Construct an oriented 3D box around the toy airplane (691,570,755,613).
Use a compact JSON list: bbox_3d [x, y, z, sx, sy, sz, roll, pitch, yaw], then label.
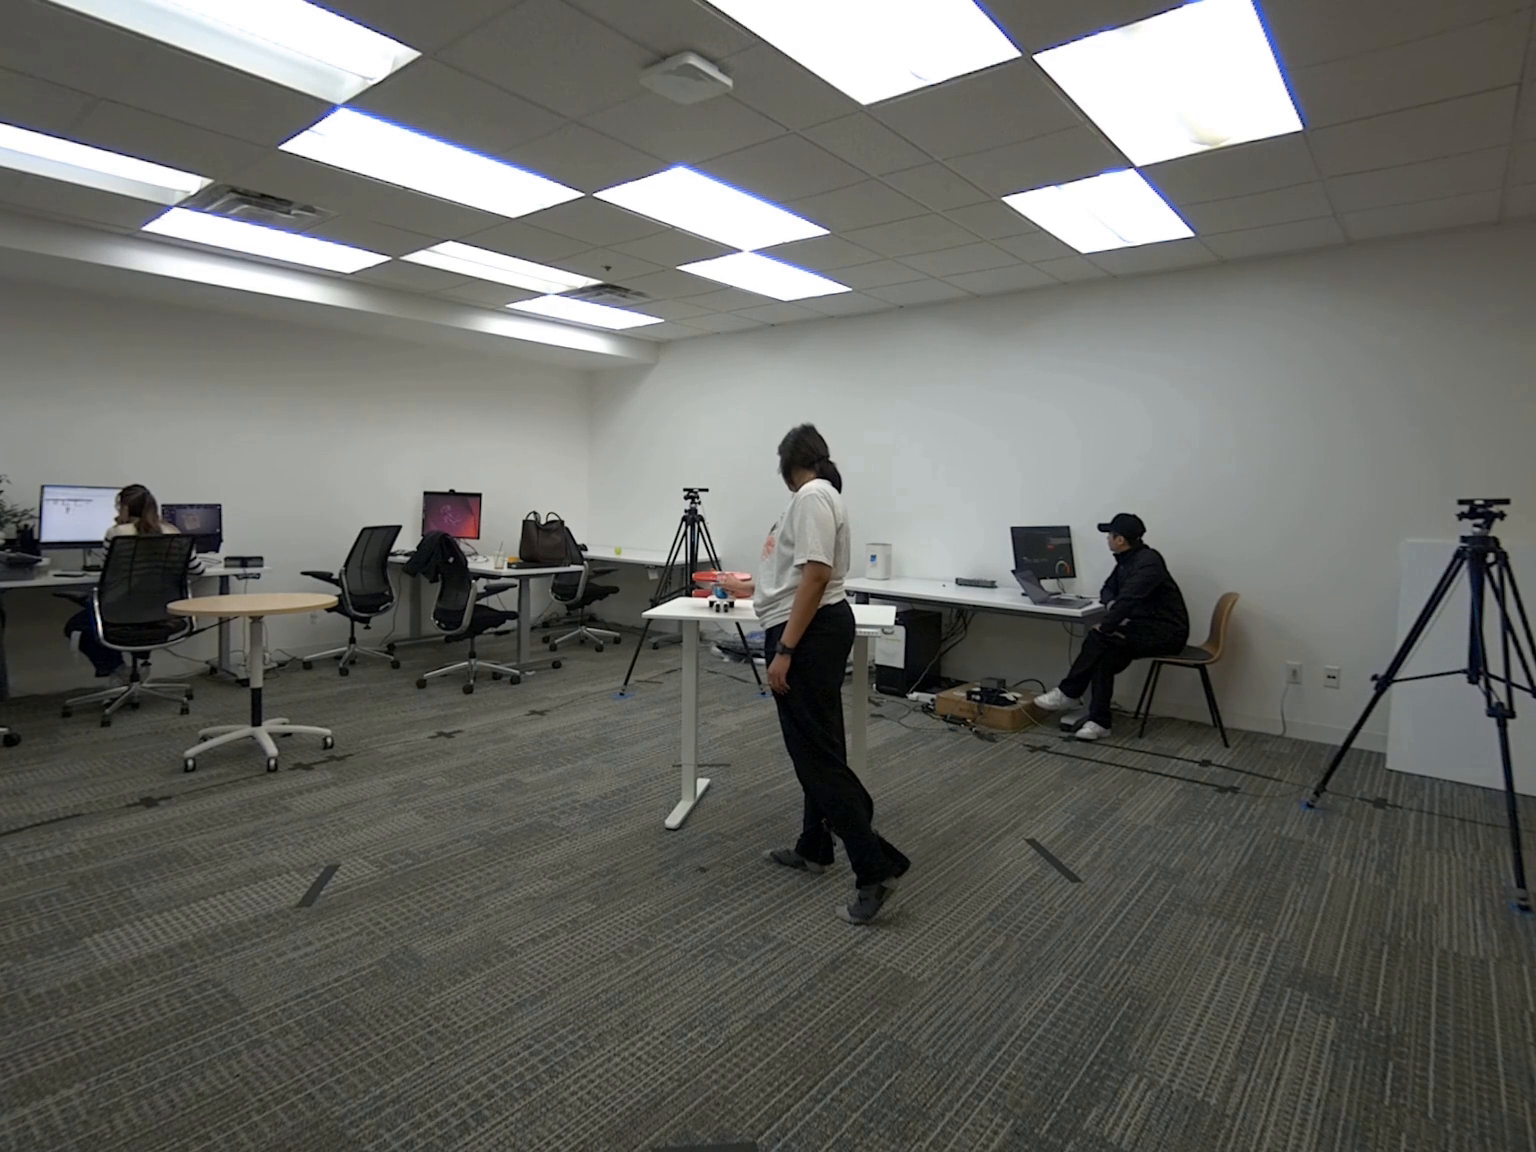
[{"bbox_3d":[-0.191,0.061,3.640,0.244,0.156,0.267,0,2,-32],"label":"toy airplane"}]
